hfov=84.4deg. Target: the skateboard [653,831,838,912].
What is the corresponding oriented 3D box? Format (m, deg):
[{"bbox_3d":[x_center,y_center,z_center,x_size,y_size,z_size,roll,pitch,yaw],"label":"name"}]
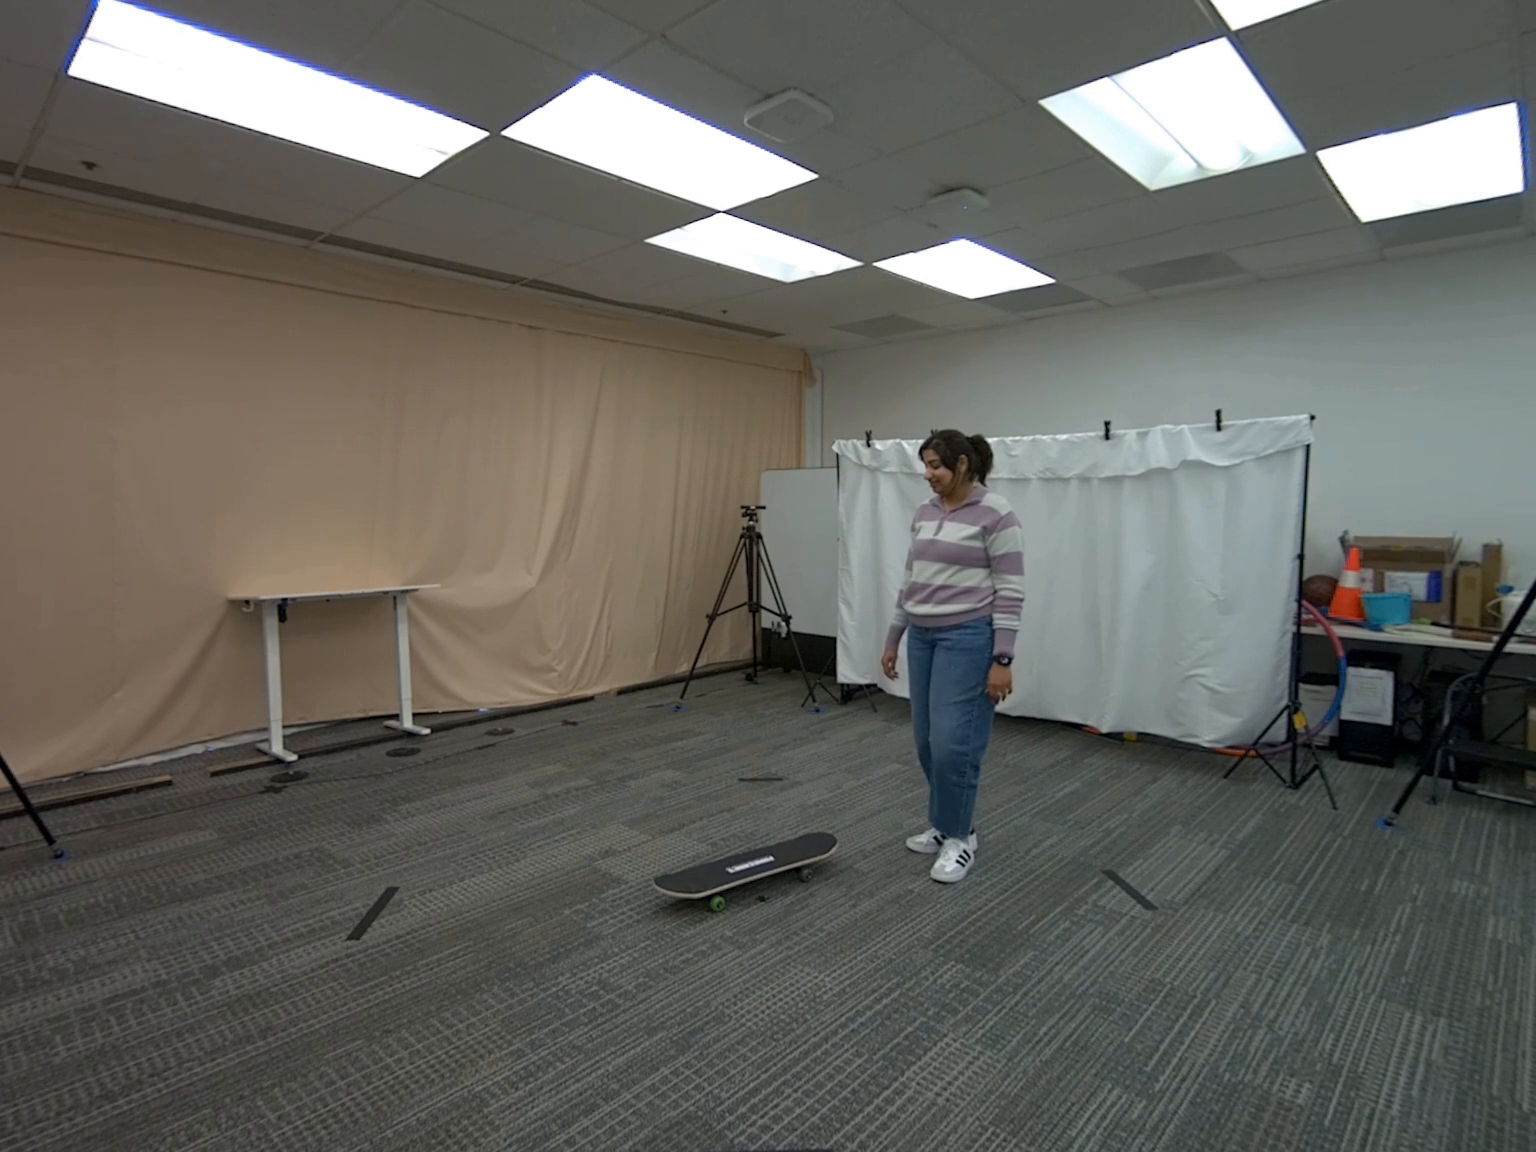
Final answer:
[{"bbox_3d":[-0.065,1.082,3.068,0.763,0.110,0.199,-3,4,-35],"label":"skateboard"}]
